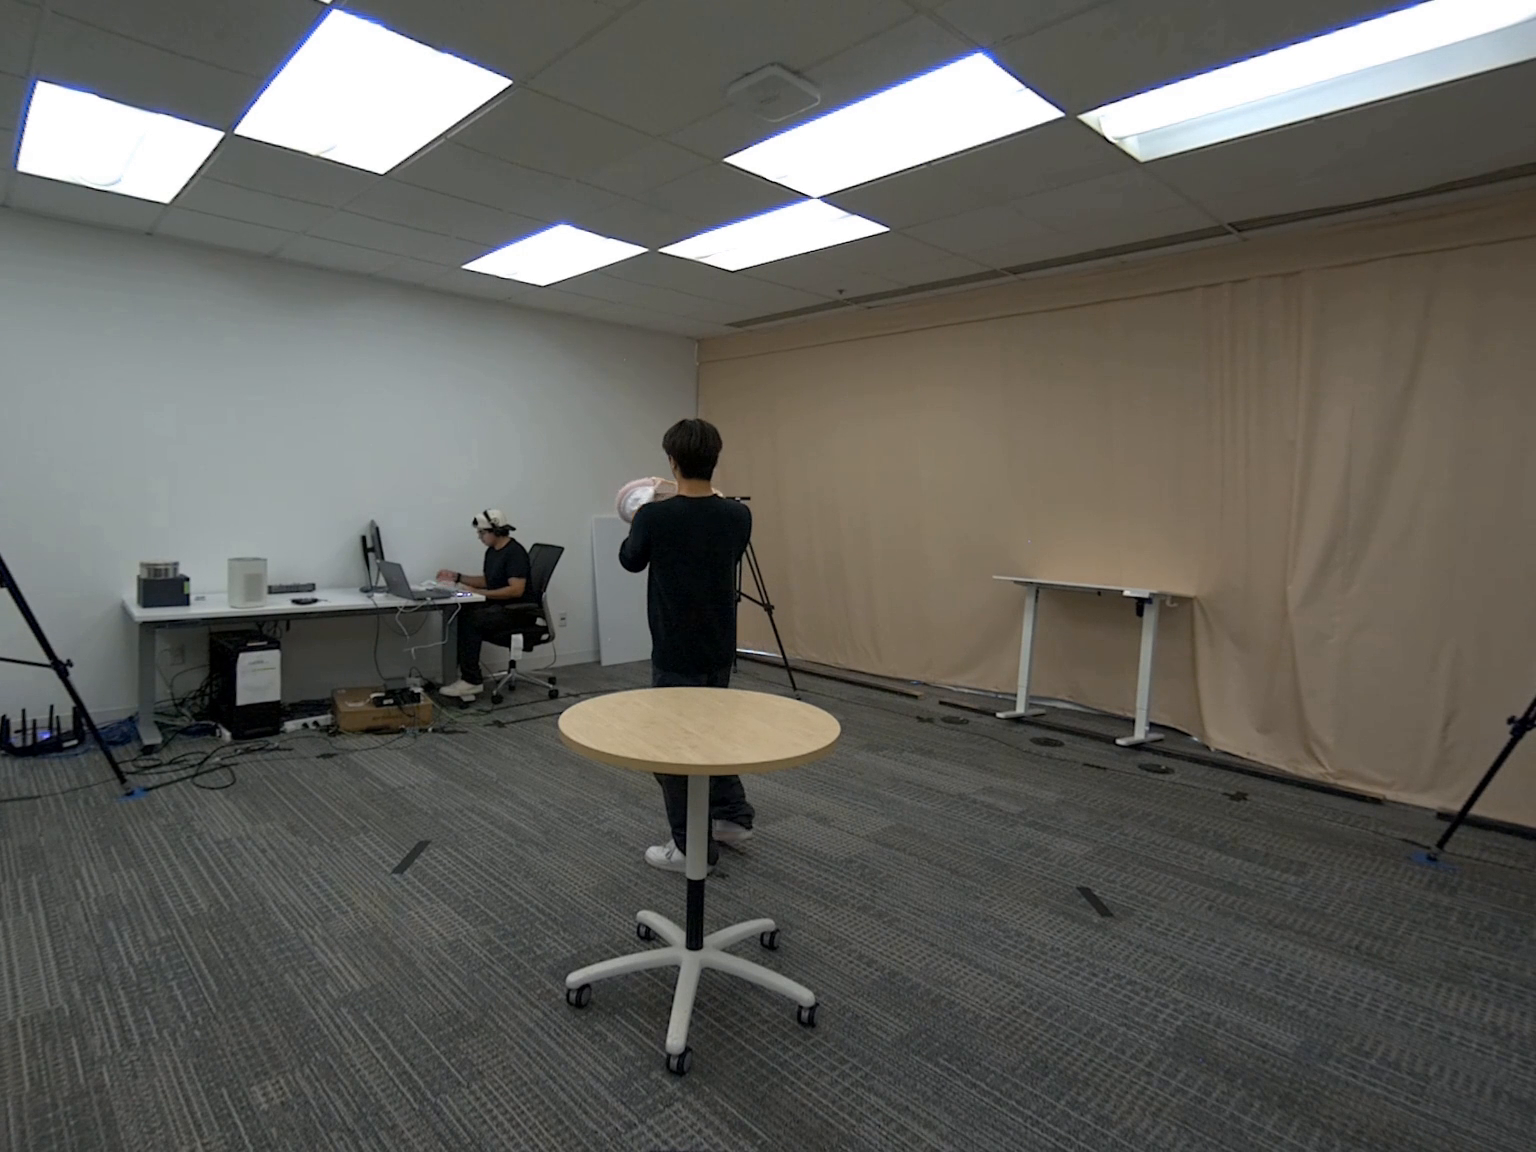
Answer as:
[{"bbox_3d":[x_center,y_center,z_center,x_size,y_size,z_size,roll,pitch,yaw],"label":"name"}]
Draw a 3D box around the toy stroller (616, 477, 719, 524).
[{"bbox_3d":[-0.464,-0.308,3.714,0.352,0.279,0.522,35,22,36],"label":"toy stroller"}]
